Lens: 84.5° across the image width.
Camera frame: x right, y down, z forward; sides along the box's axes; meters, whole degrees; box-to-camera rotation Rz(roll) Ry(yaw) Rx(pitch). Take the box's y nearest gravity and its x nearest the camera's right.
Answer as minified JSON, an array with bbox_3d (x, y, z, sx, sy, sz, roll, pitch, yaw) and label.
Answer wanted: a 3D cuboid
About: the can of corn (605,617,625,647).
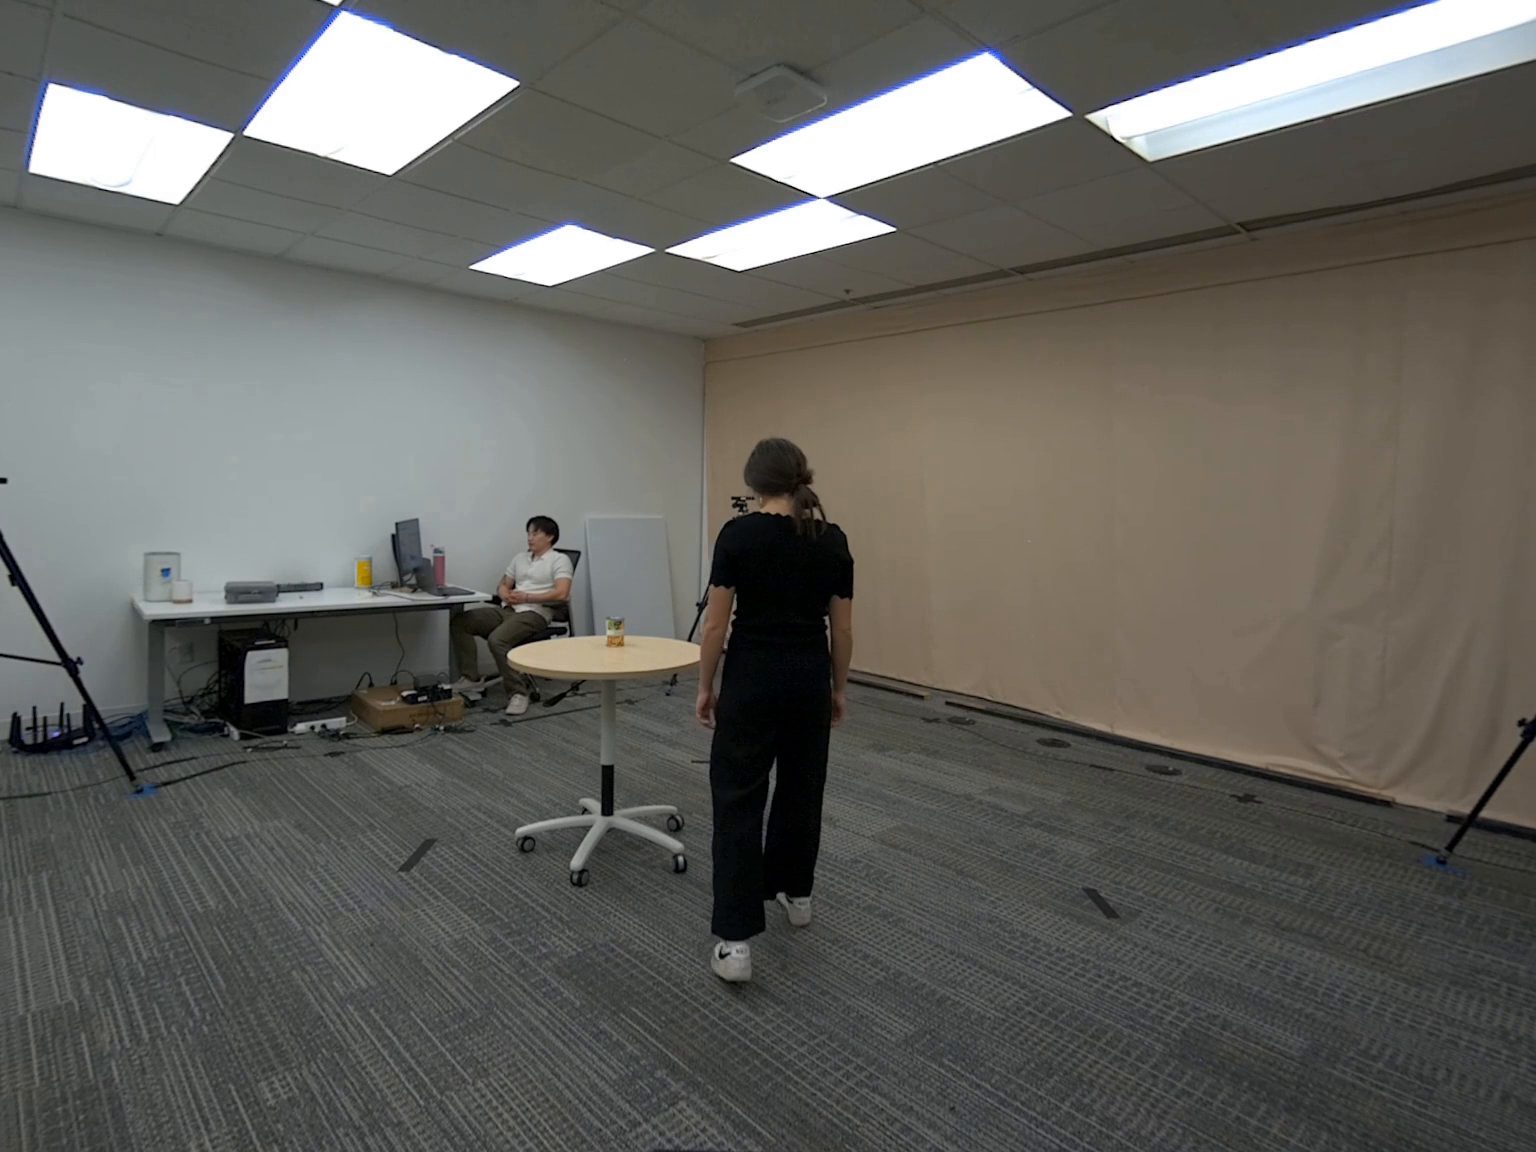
[{"bbox_3d":[-0.634,0.229,3.413,0.074,0.111,0.074,-1,2,-1],"label":"can of corn"}]
